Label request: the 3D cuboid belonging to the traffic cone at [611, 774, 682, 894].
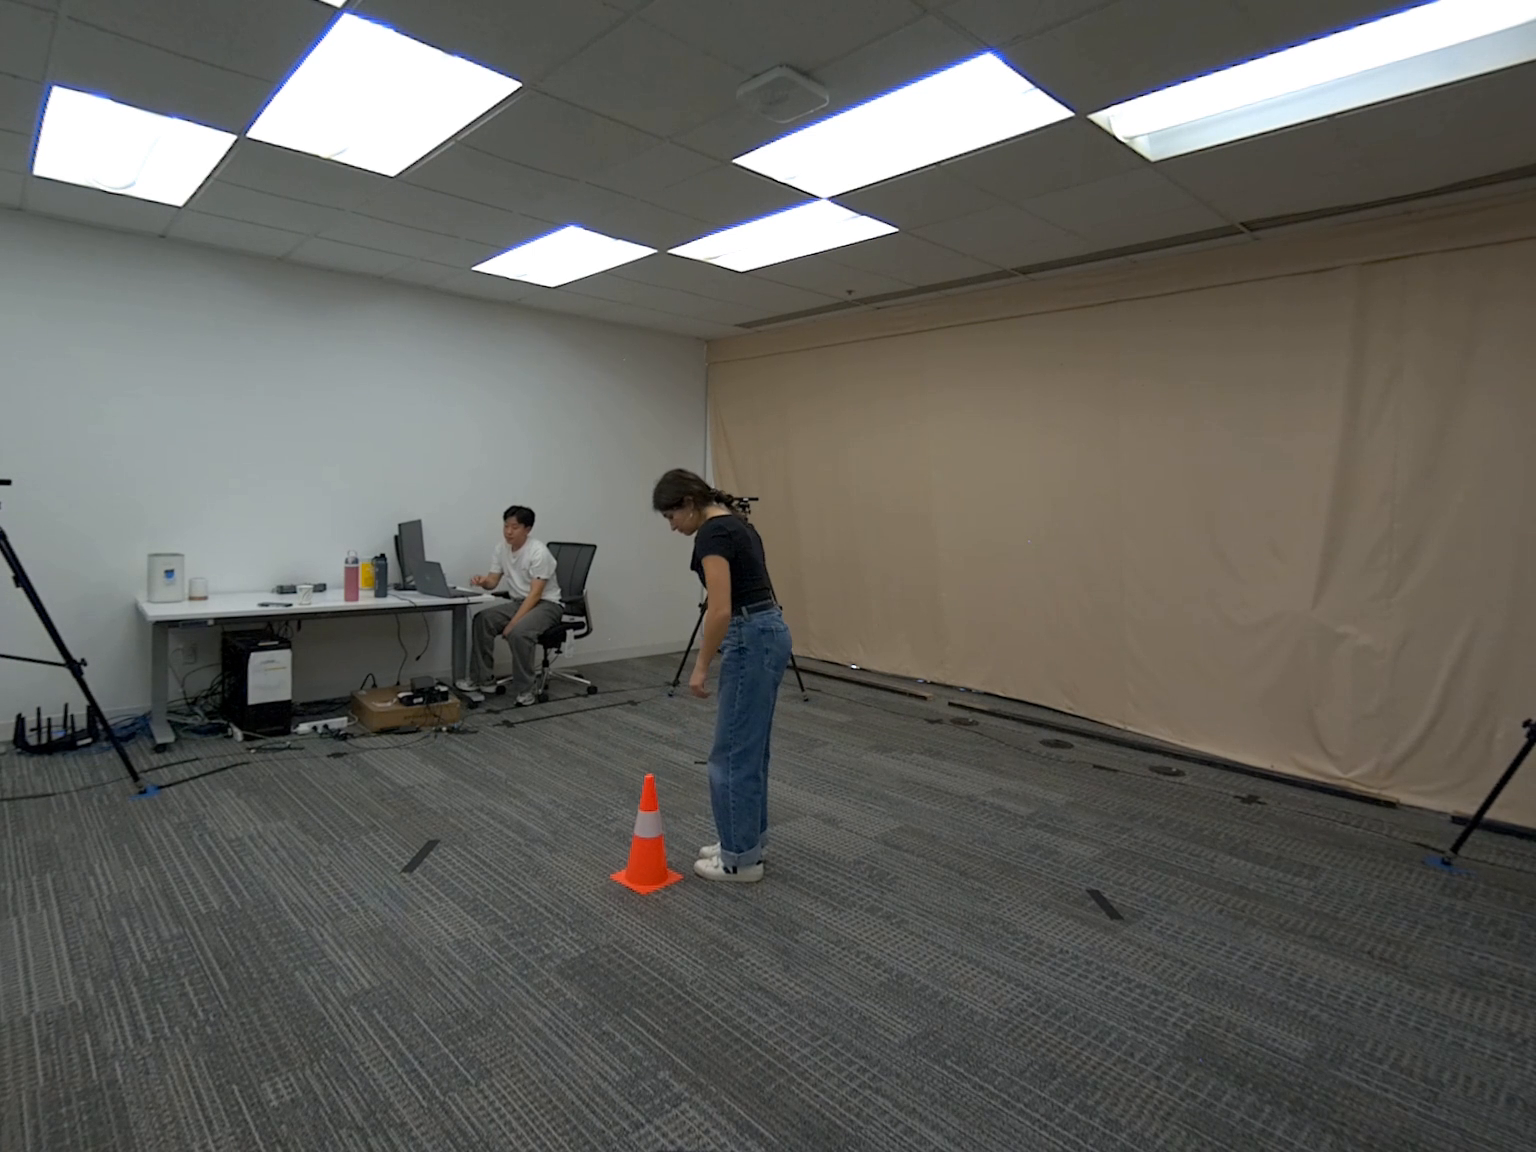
[{"bbox_3d":[-0.441,0.923,3.062,0.210,0.382,0.199,7,7,44],"label":"traffic cone"}]
